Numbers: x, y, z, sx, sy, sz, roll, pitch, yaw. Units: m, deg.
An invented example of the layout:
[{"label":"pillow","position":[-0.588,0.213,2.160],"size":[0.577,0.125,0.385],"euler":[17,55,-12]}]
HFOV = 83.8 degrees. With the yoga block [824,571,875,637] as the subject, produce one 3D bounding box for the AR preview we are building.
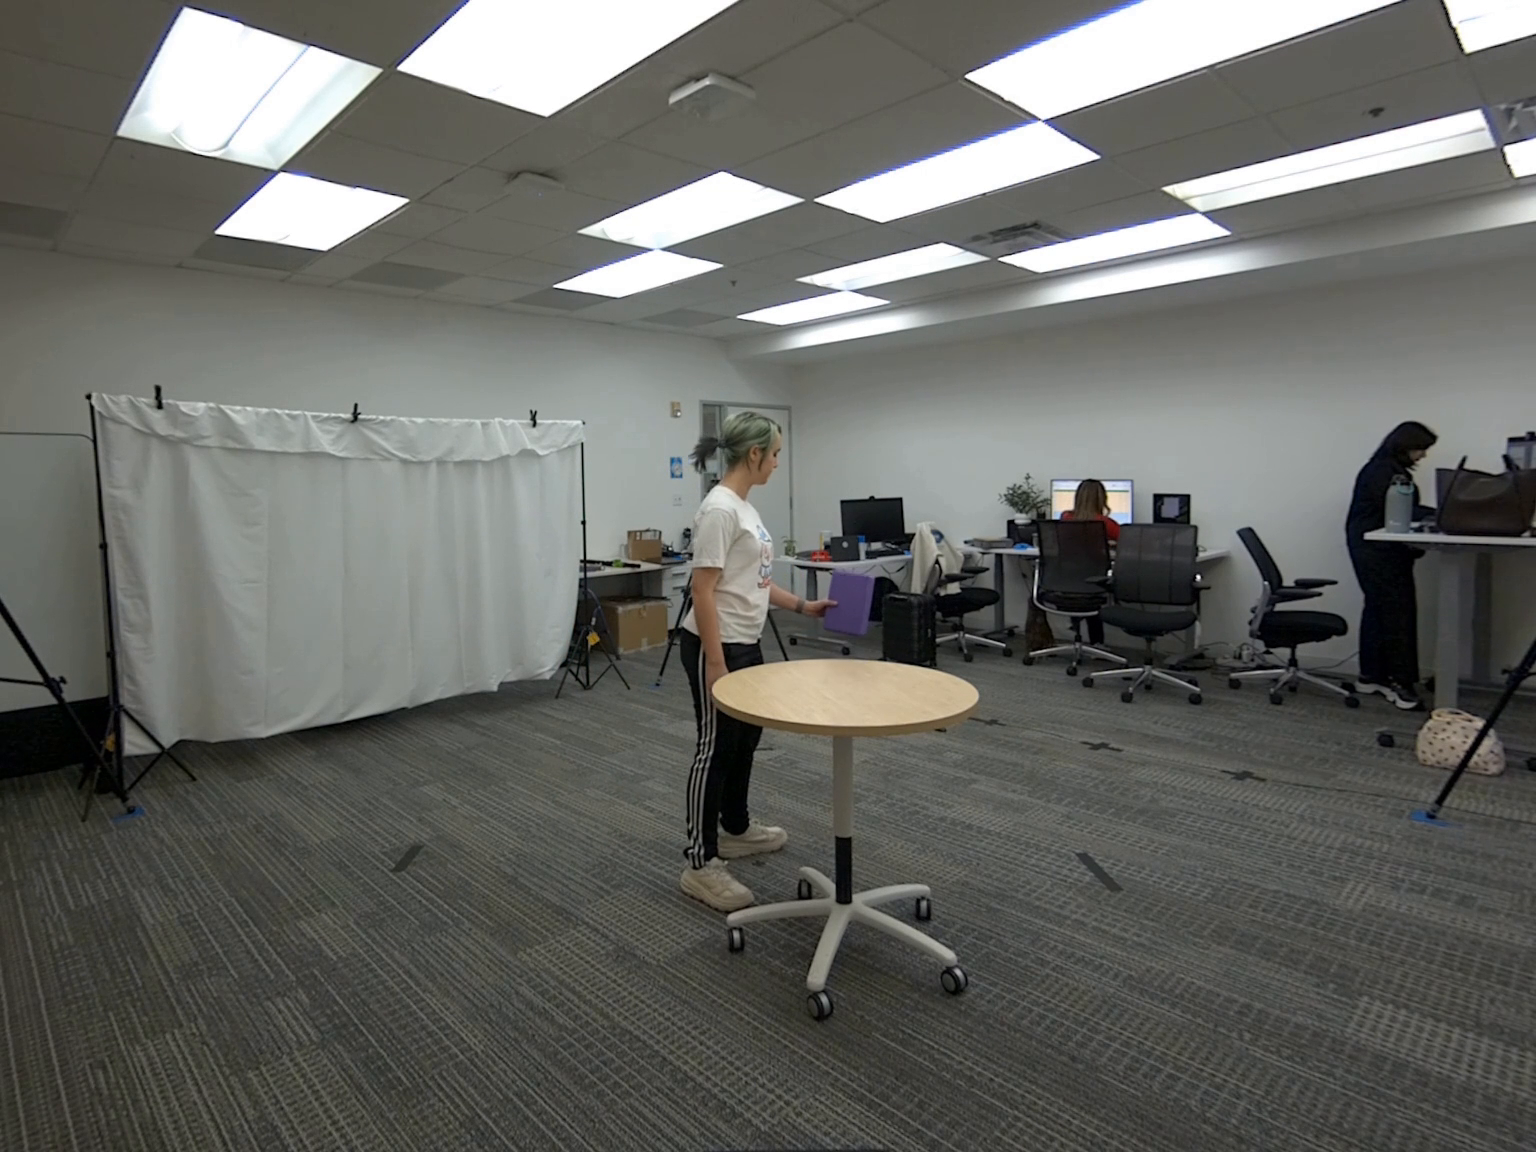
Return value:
[{"label":"yoga block","position":[0.301,0.099,3.177],"size":[0.152,0.229,0.075],"euler":[8,-1,18]}]
